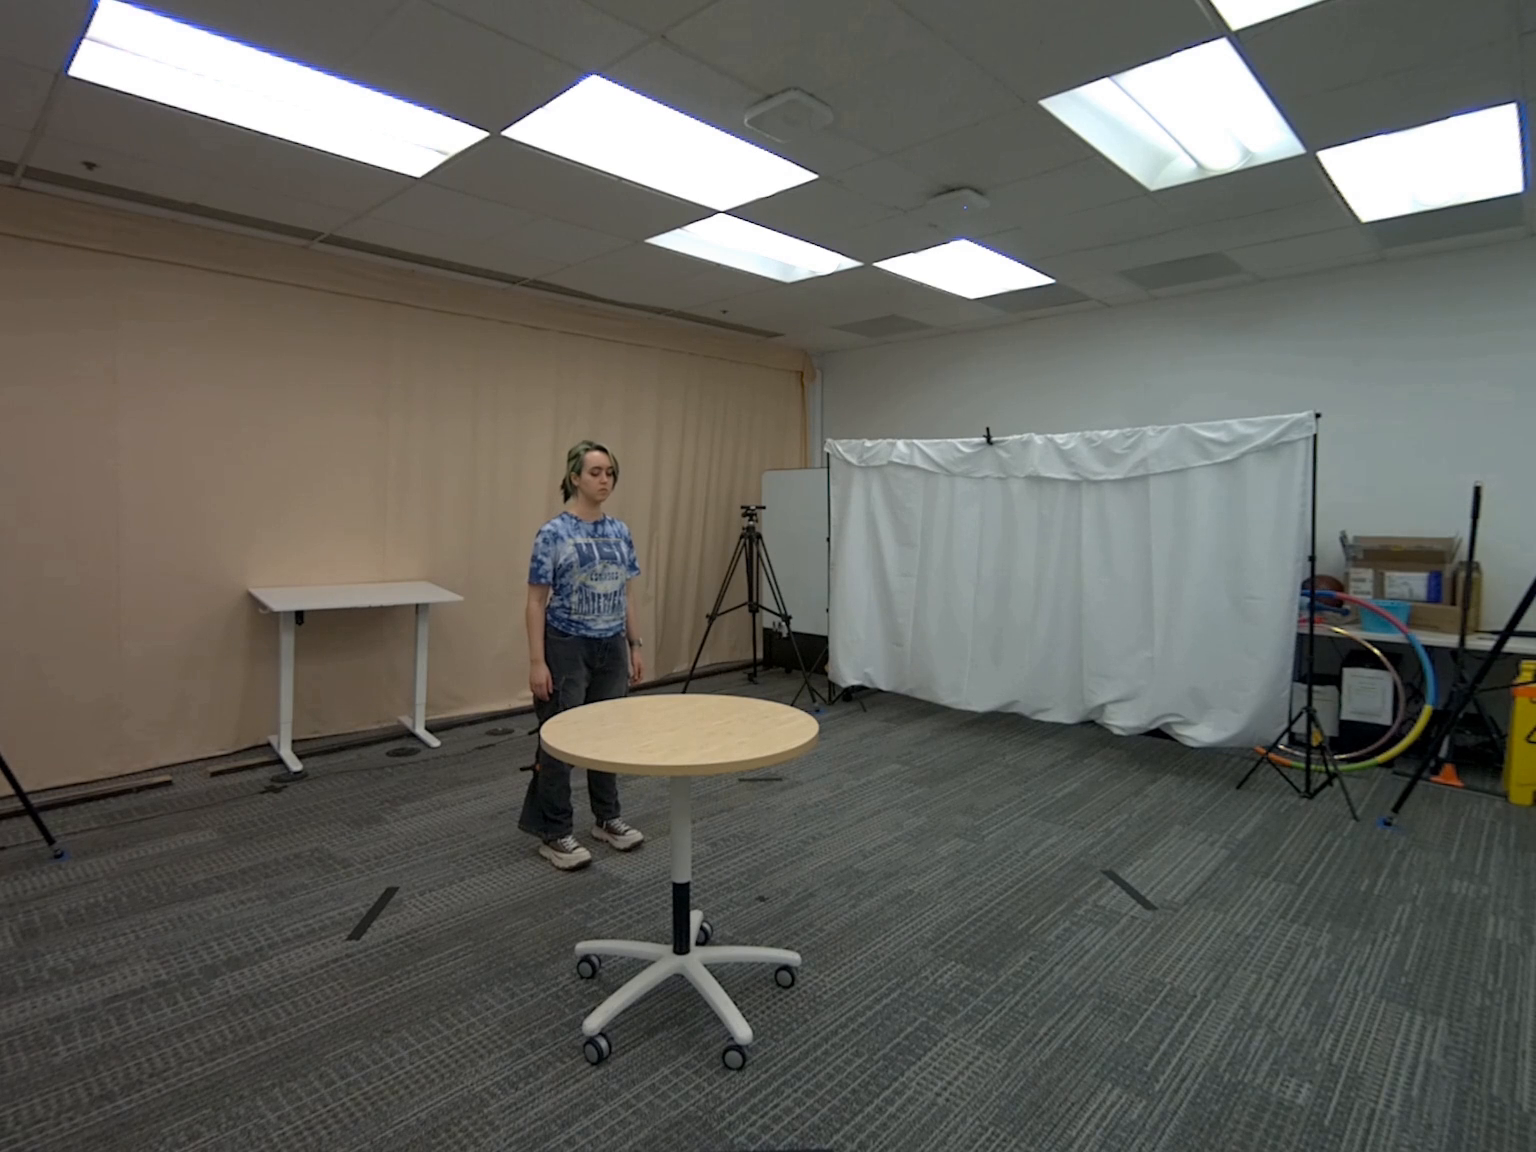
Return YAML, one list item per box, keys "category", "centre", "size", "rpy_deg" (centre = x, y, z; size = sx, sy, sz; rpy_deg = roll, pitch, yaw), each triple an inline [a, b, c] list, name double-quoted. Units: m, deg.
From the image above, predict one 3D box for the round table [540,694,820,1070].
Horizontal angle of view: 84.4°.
- category: "round table"
  centre: [-0.239, 0.809, 2.359]
  size: [0.763, 0.792, 0.767]
  rpy_deg: [-1, 4, -2]
